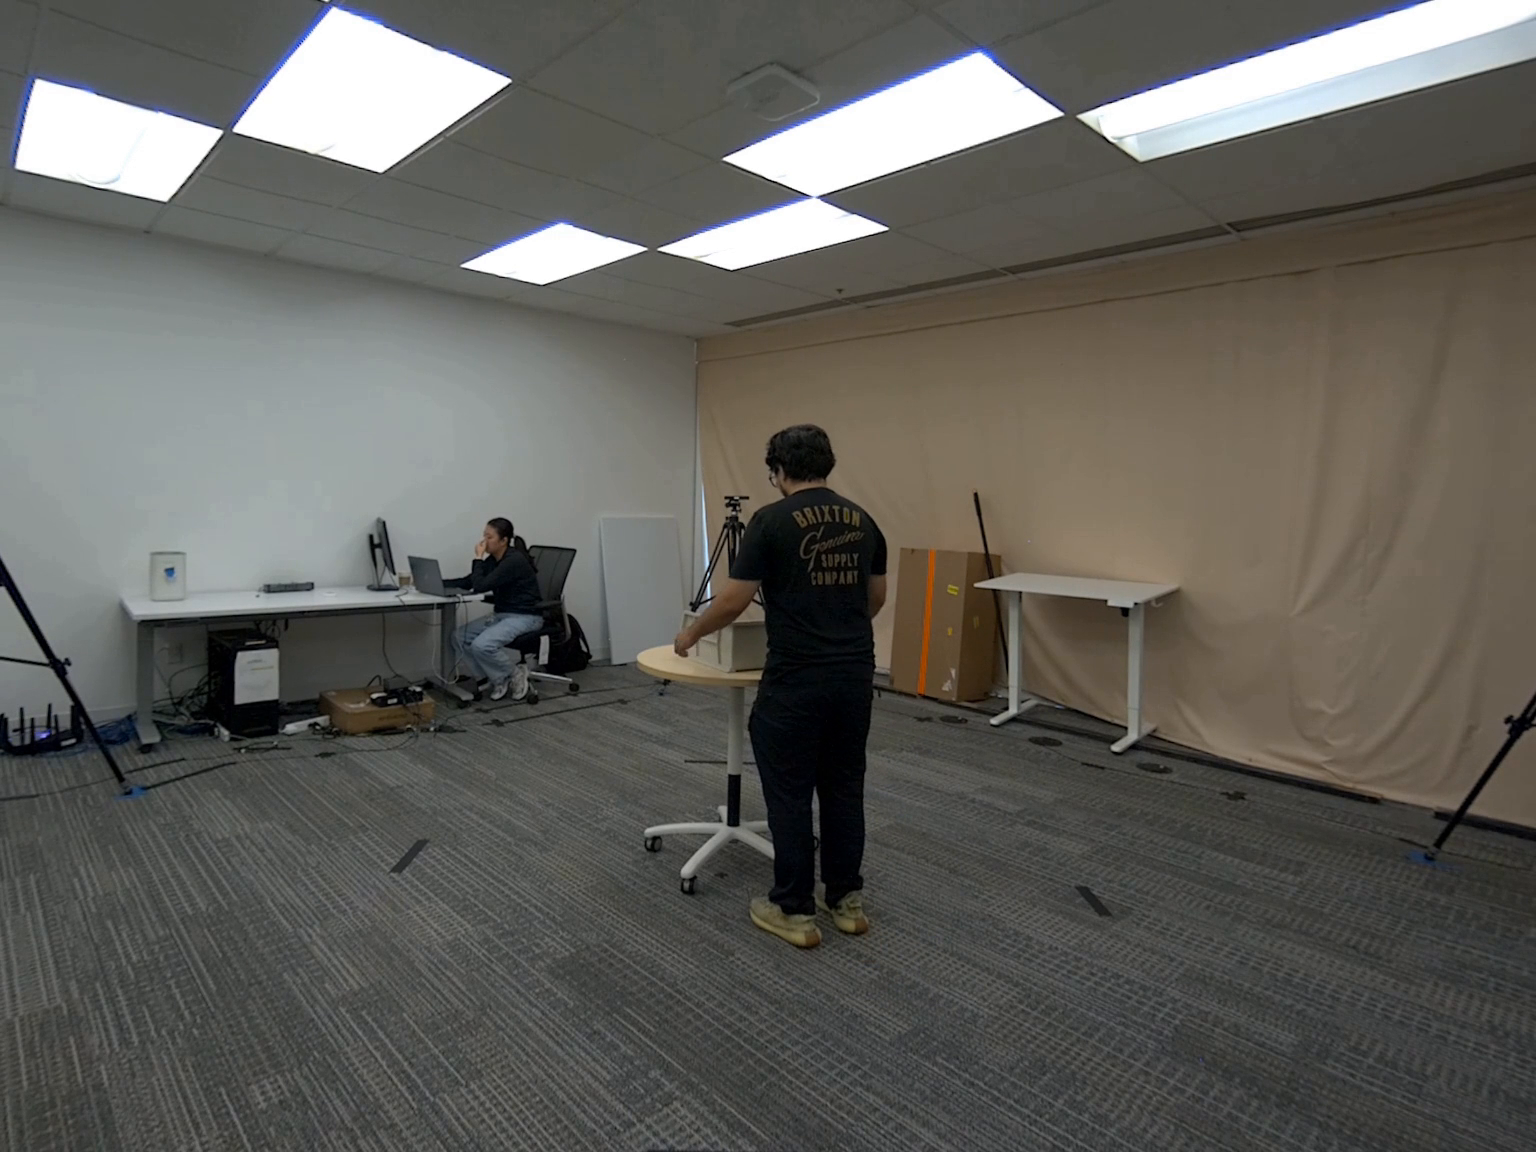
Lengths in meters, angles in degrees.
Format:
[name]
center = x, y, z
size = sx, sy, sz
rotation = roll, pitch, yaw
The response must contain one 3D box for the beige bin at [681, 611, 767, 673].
[beige bin]
center = -0.071, 0.231, 3.157
size = 0.413, 0.188, 0.386
rotation = -1, 5, -32
